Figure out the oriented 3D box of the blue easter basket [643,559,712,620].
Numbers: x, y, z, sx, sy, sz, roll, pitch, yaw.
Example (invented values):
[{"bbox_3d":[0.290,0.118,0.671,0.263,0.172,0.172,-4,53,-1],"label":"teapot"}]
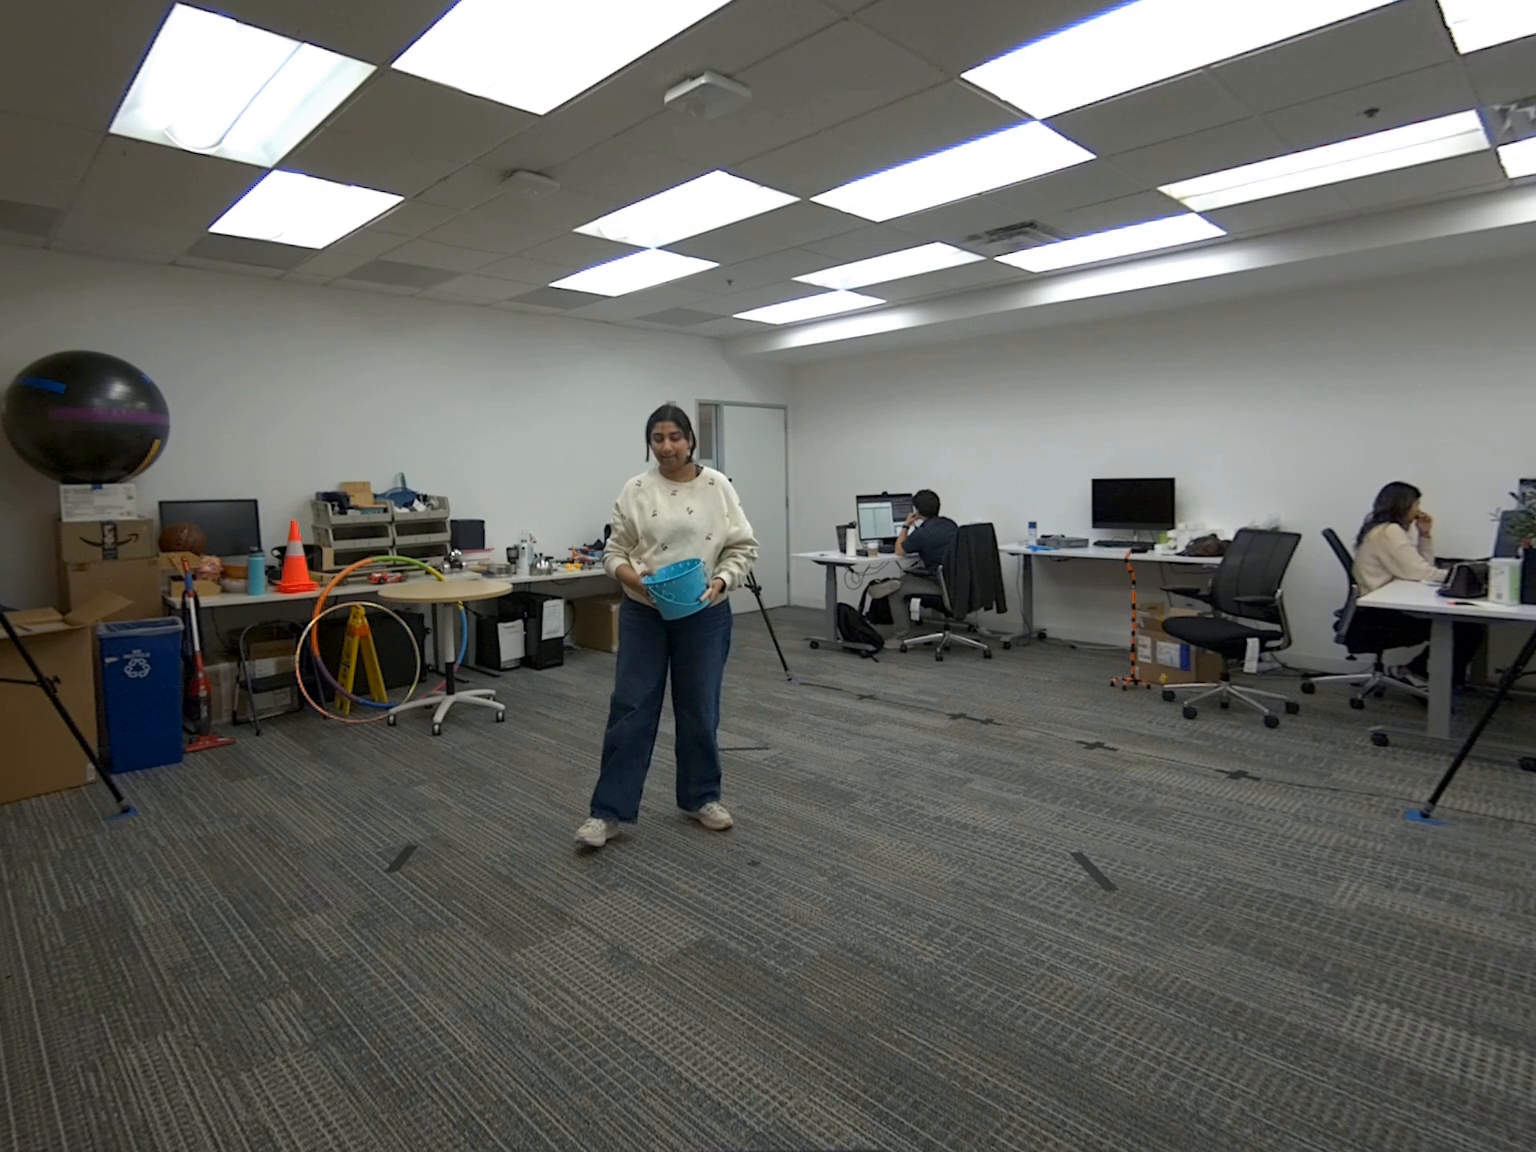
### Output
[{"bbox_3d":[-0.328,0.057,3.071,0.244,0.154,0.246,-22,12,3],"label":"blue easter basket"}]
